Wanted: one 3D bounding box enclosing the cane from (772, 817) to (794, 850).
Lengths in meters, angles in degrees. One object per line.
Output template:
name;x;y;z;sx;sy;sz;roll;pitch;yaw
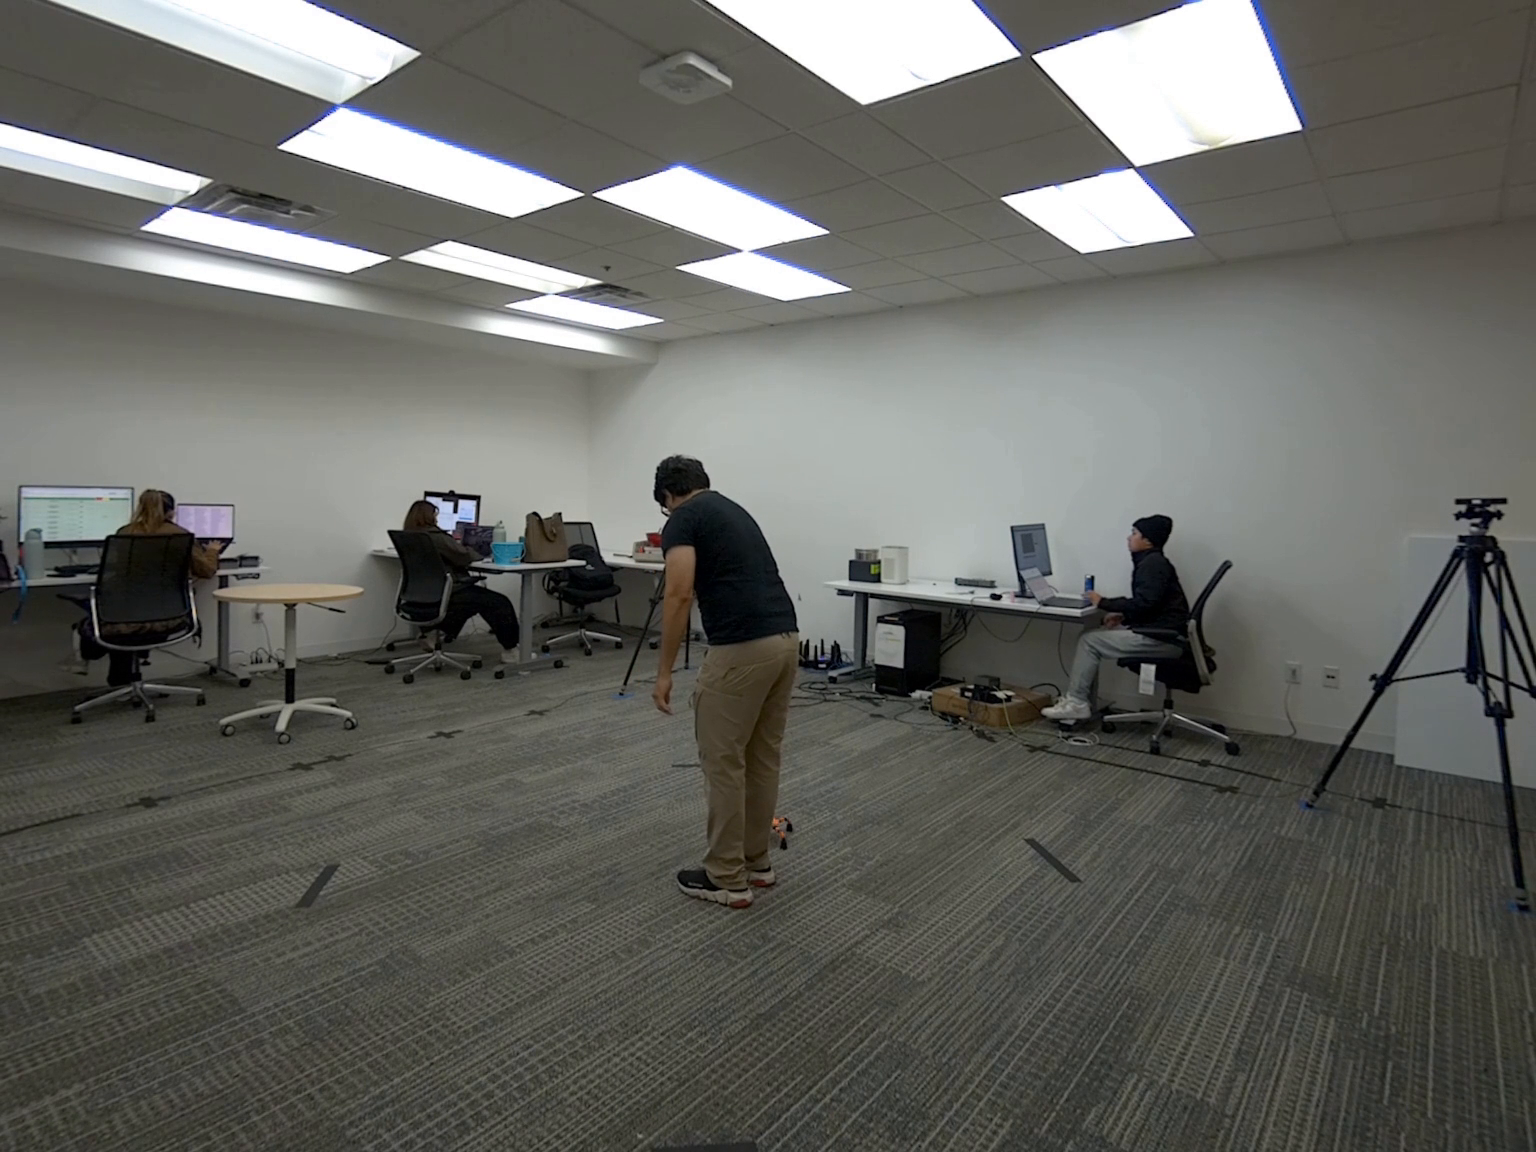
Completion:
cane;0.024;0.589;3.394;0.153;0.906;0.205;2;2;9
